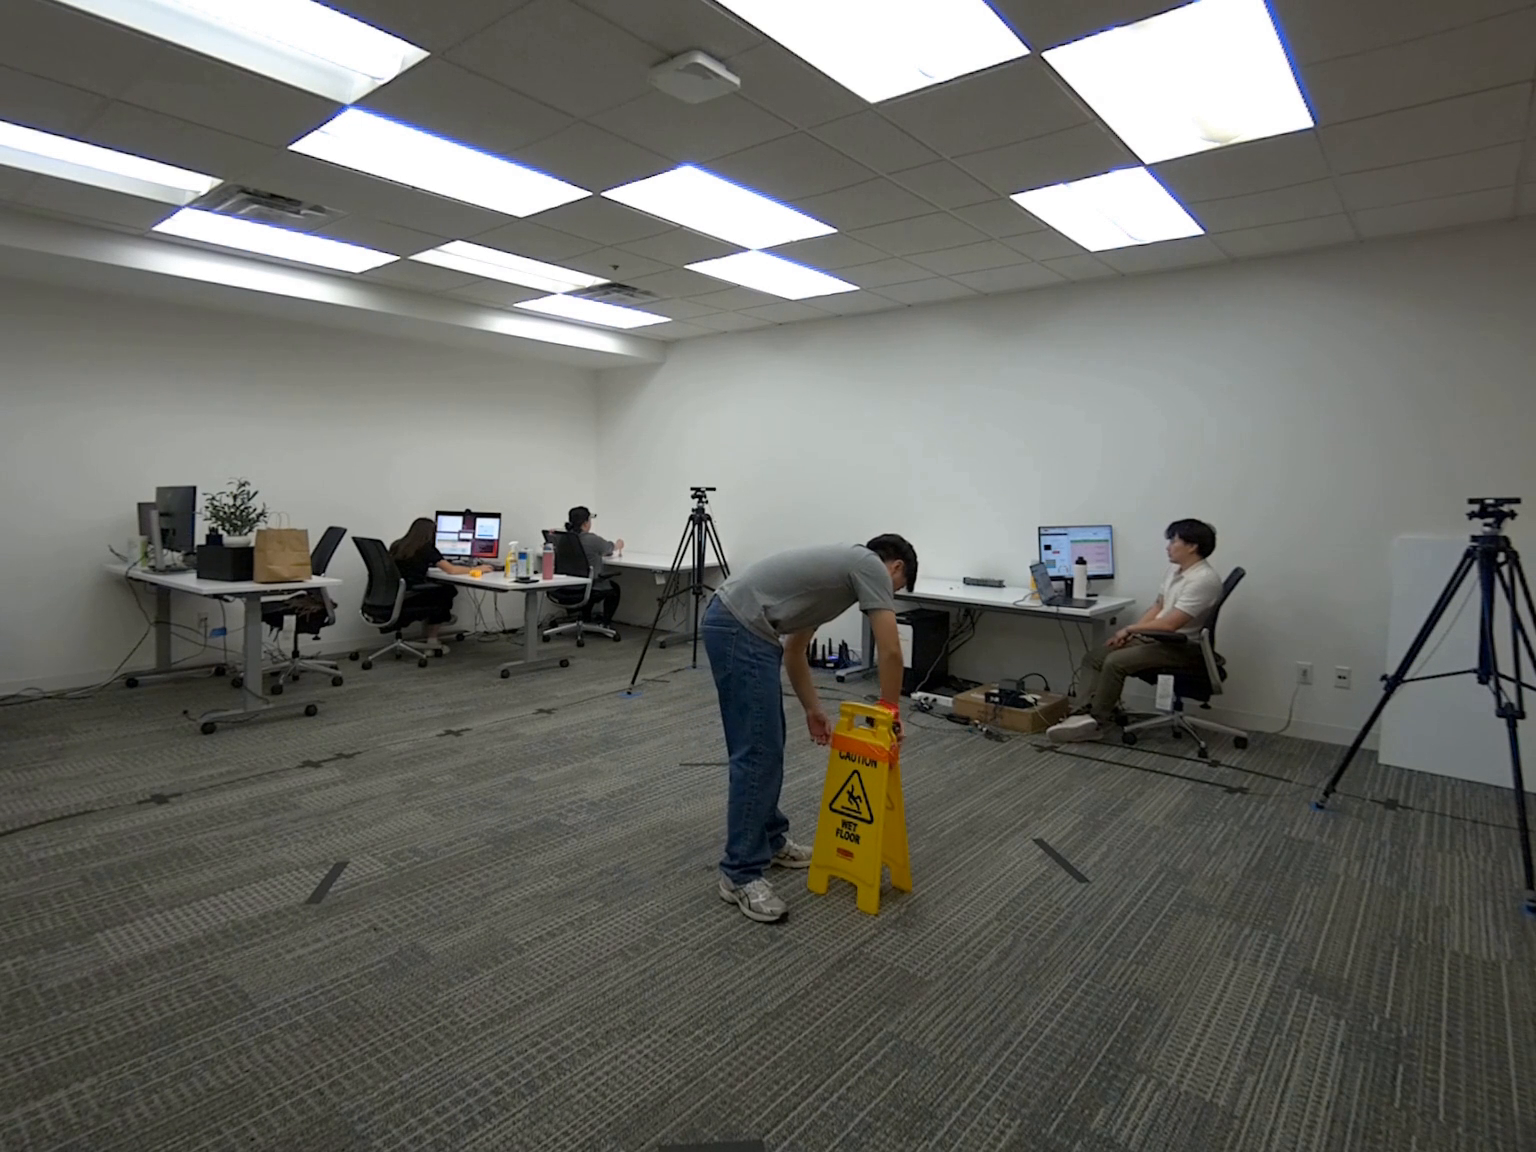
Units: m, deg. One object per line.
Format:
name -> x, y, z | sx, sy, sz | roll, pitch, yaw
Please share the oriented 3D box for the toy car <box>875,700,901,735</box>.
toy car -> 0.396, 0.562, 2.944 | 0.080, 0.252, 0.135 | 0, 15, -44
